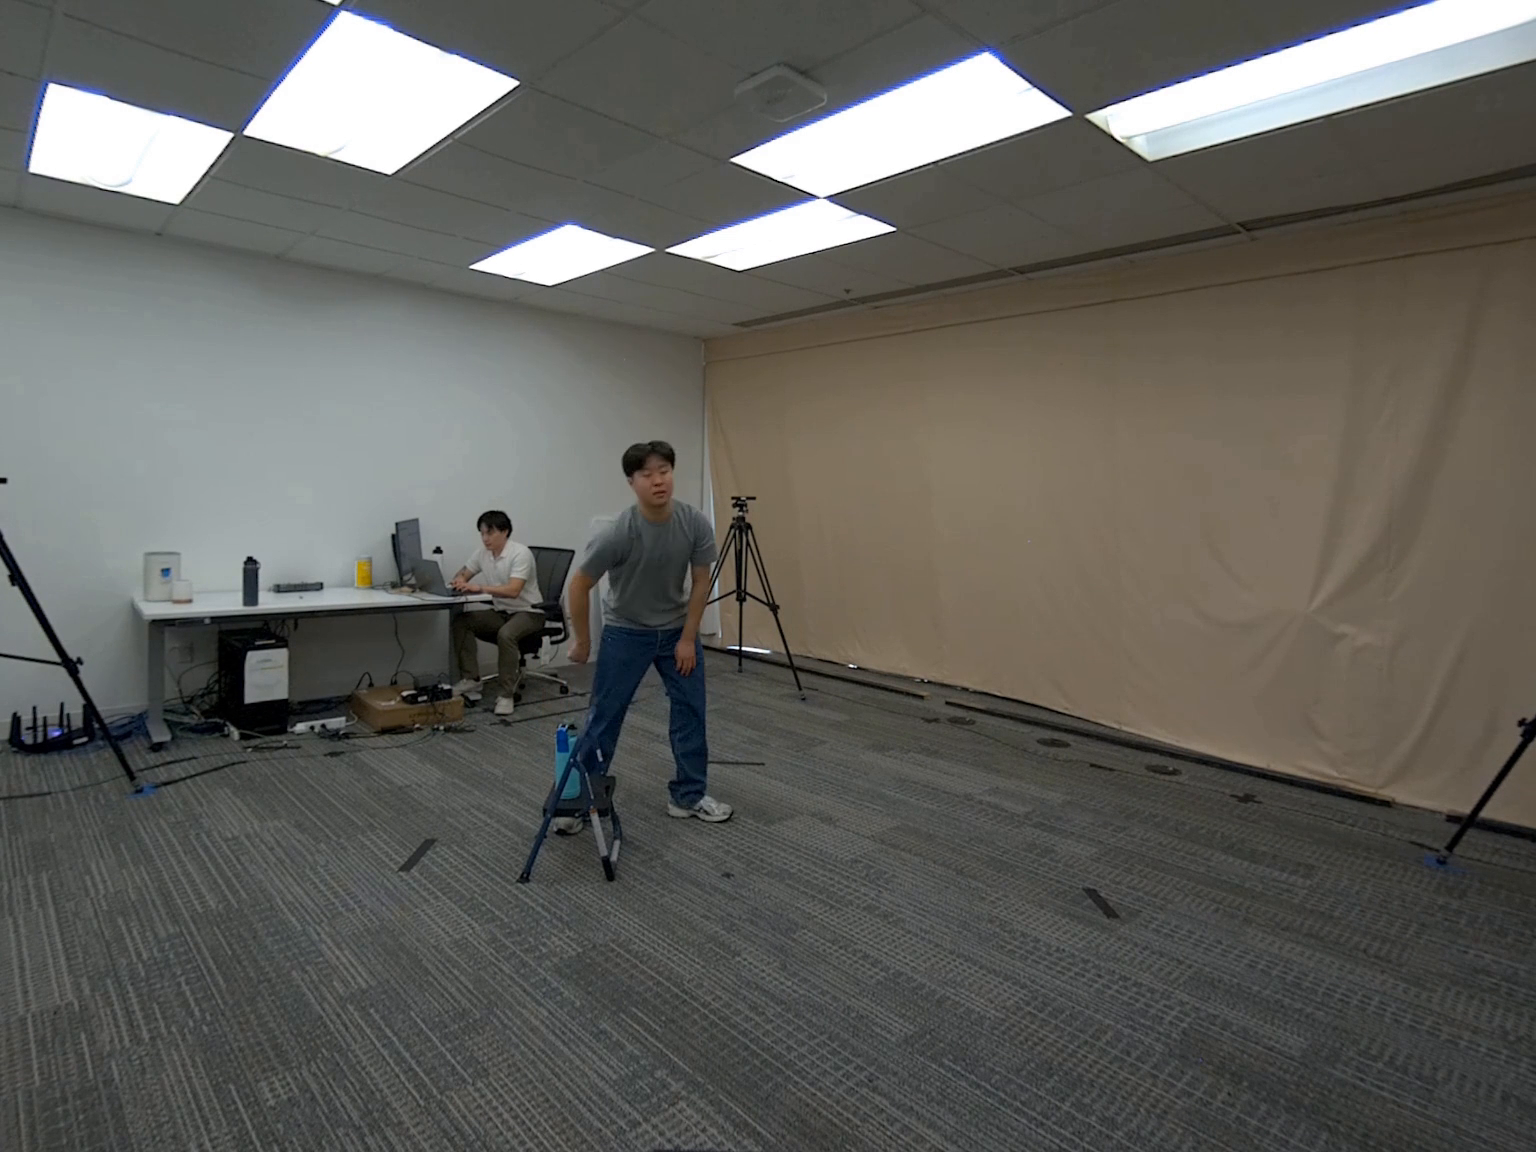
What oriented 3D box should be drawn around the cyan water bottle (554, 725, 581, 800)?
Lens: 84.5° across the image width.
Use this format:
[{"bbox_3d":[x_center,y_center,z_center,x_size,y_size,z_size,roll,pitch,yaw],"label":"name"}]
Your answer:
[{"bbox_3d":[-0.768,0.684,3.157,0.092,0.282,0.093,0,5,-1],"label":"cyan water bottle"}]
